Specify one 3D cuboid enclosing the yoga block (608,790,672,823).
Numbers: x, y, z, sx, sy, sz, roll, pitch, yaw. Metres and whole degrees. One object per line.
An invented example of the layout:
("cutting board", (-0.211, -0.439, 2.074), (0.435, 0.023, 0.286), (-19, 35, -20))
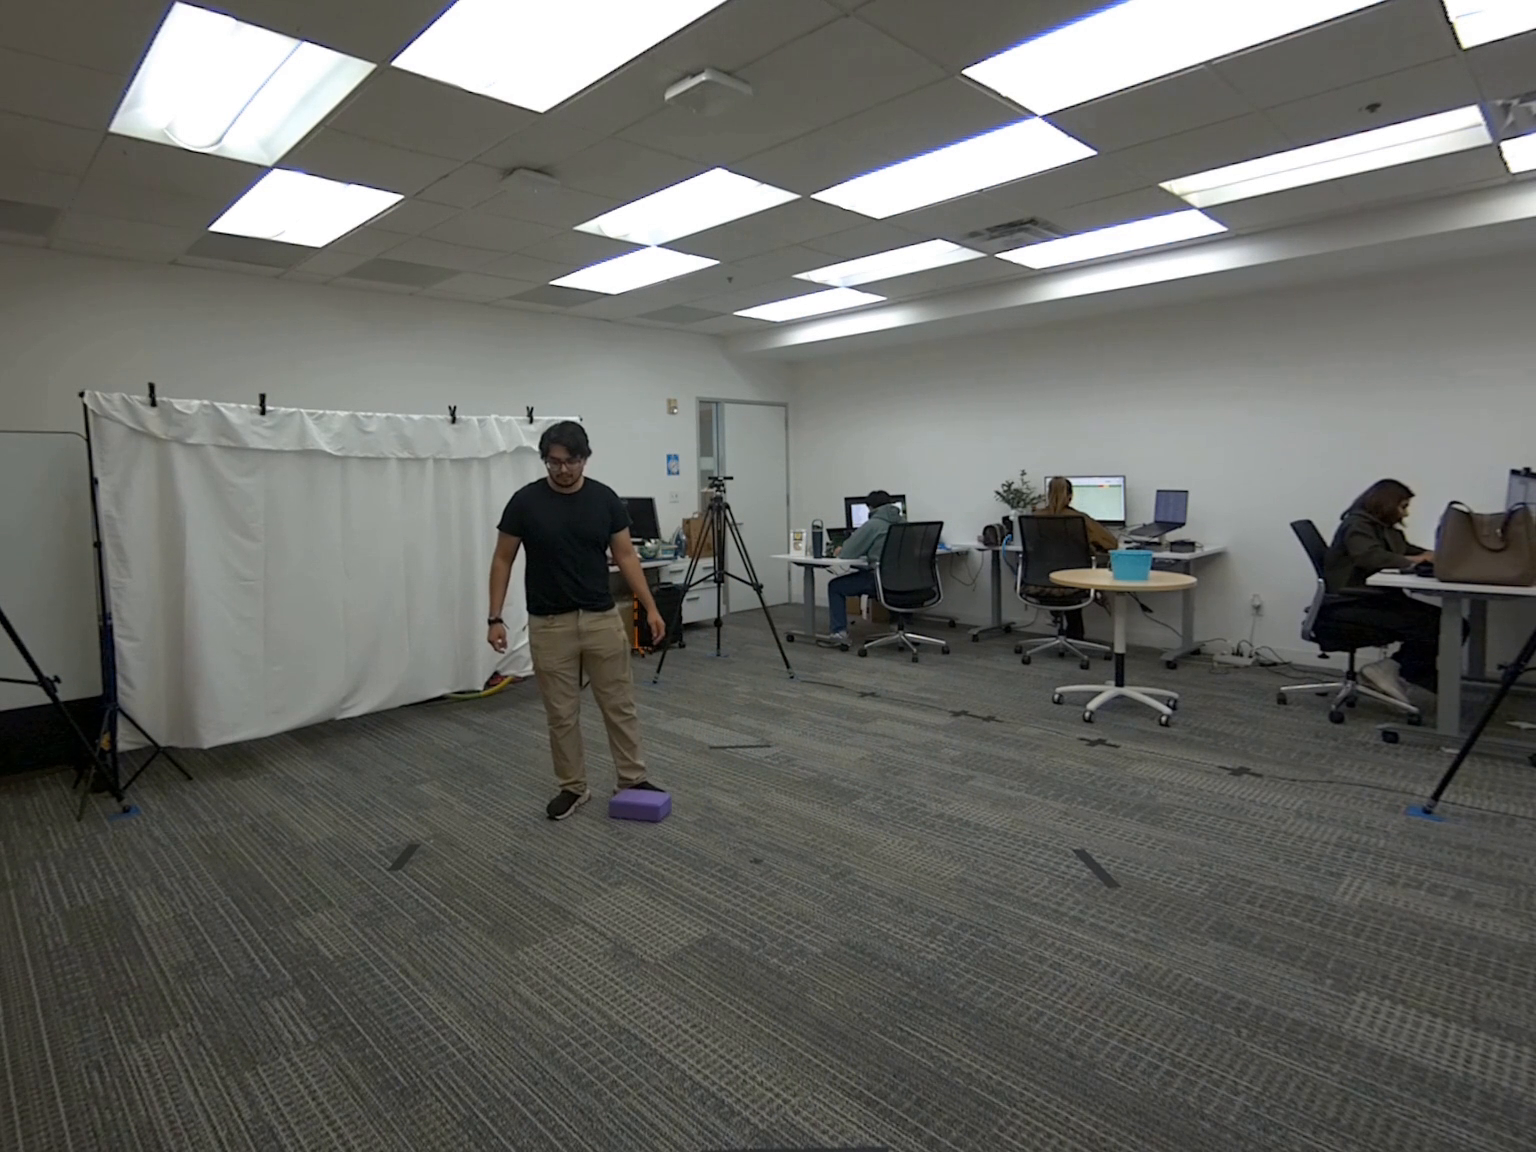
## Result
("yoga block", (-0.532, 0.953, 3.569), (0.233, 0.076, 0.147), (1, 6, 19))
